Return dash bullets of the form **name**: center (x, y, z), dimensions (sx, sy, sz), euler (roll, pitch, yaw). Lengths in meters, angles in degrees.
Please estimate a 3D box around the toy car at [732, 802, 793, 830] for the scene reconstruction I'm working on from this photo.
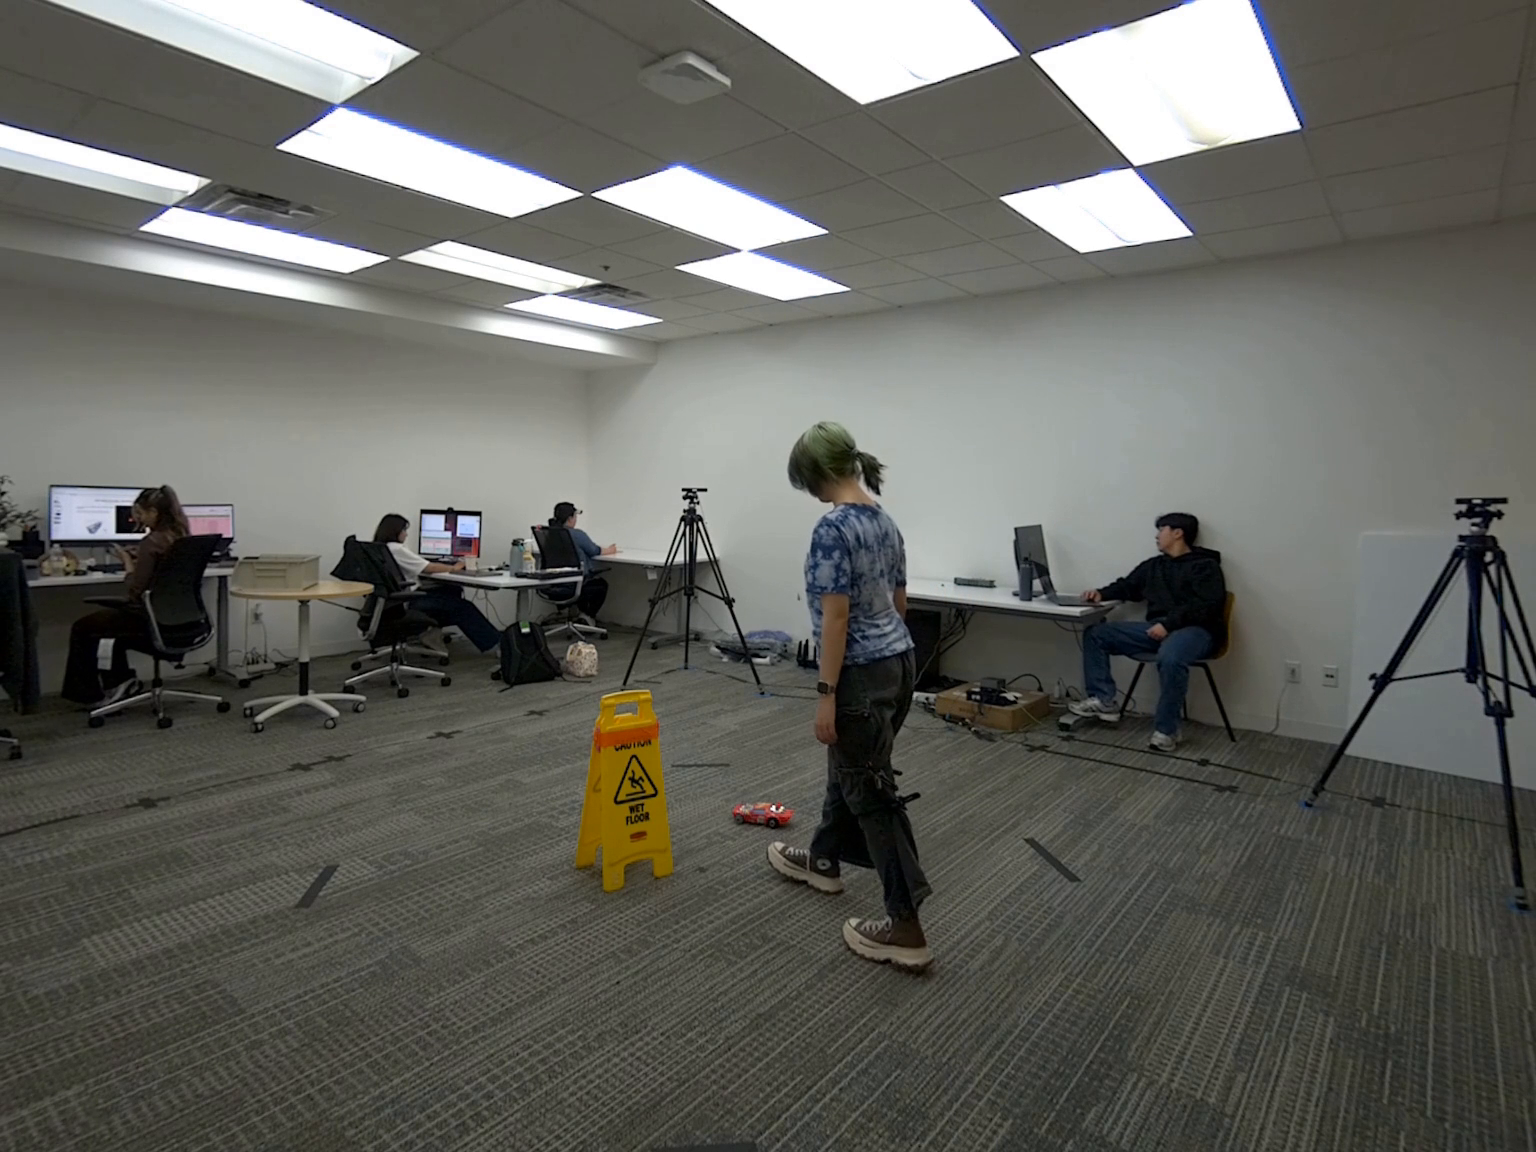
- **toy car**: center (-0.024, 0.998, 3.567), dimensions (0.258, 0.083, 0.128), euler (-8, 2, 16)
